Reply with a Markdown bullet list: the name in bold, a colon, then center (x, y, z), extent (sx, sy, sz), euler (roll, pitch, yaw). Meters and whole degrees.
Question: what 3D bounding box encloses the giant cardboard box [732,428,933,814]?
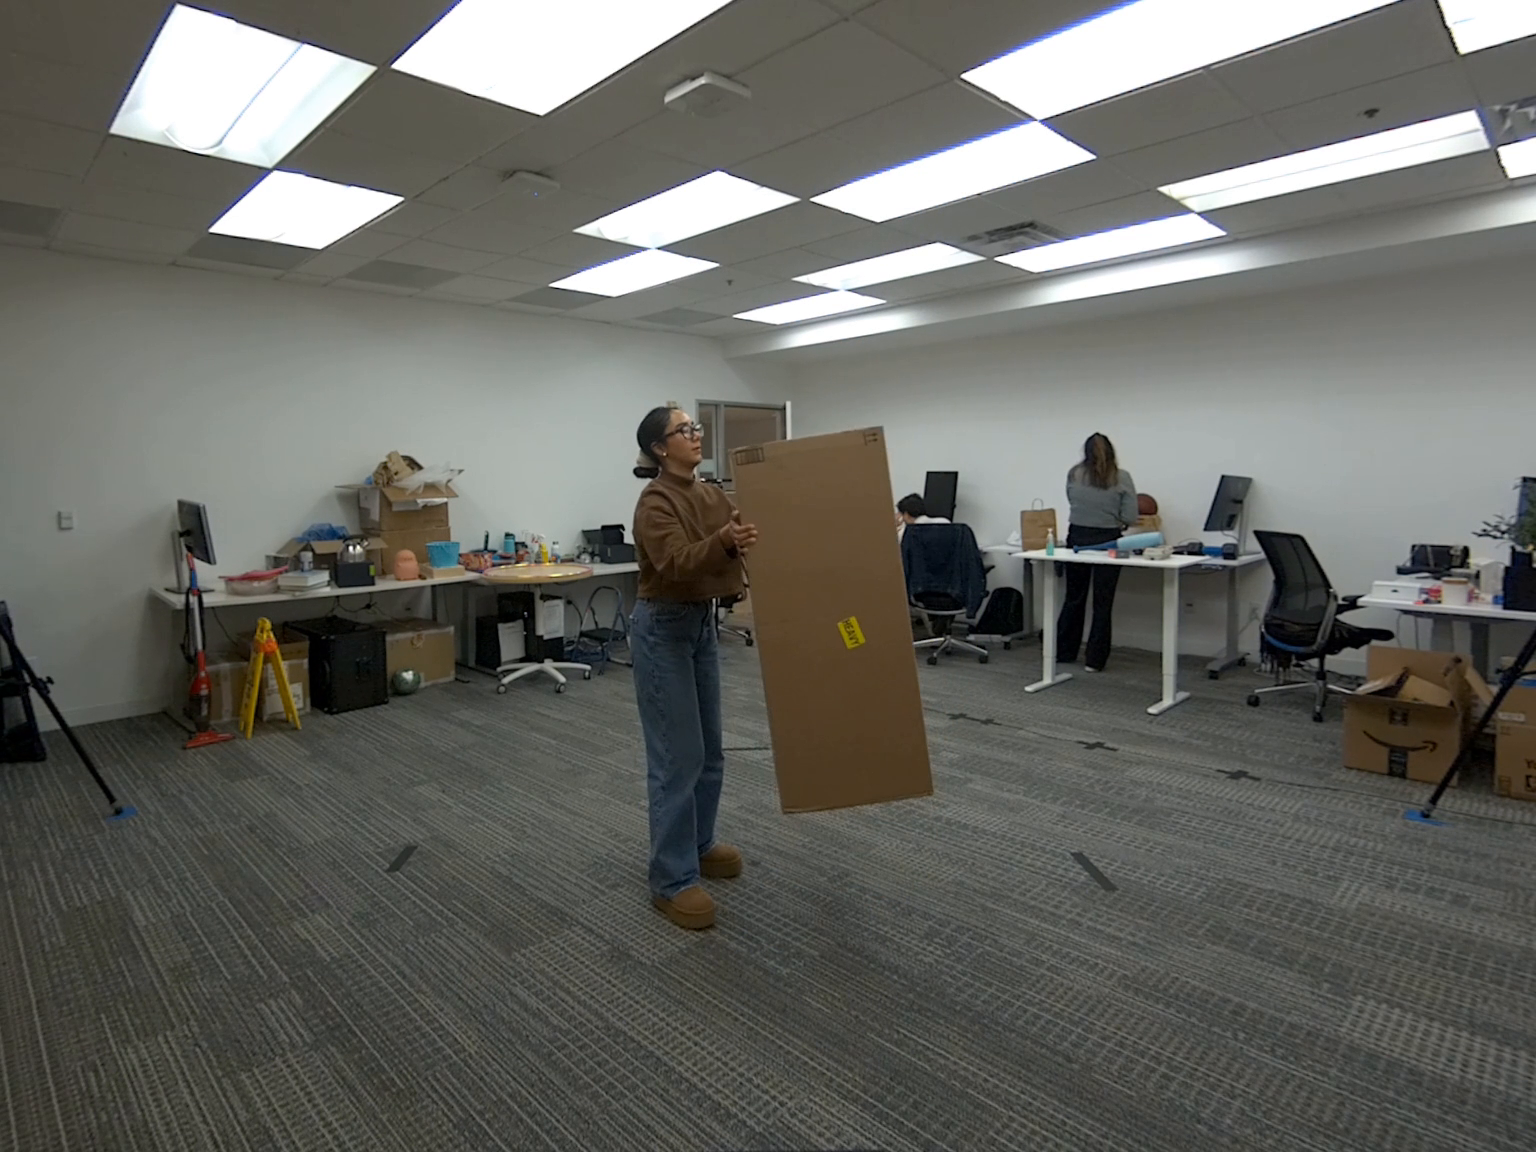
- **giant cardboard box**: center (0.172, 0.108, 2.610), extent (0.426, 1.023, 0.580), euler (-9, 3, -2)
